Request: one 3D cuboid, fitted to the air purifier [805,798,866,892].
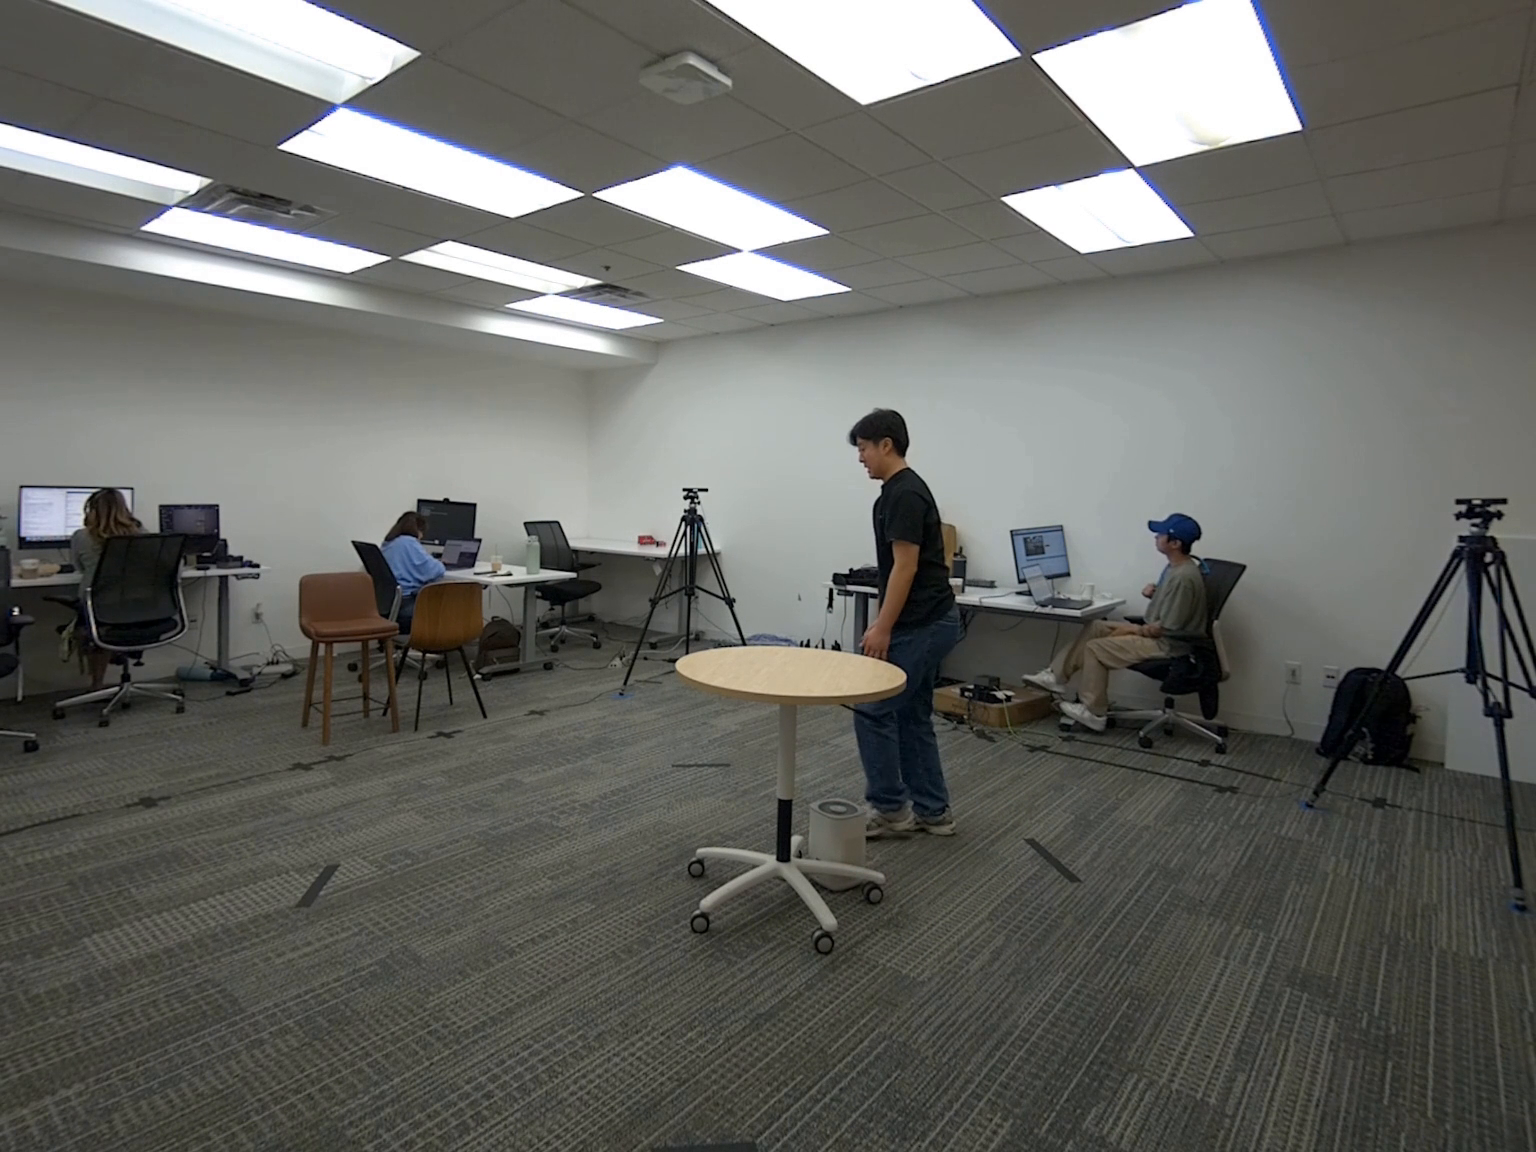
[{"bbox_3d":[0.245,0.955,3.043,0.166,0.264,0.177,-4,5,-39],"label":"air purifier"}]
